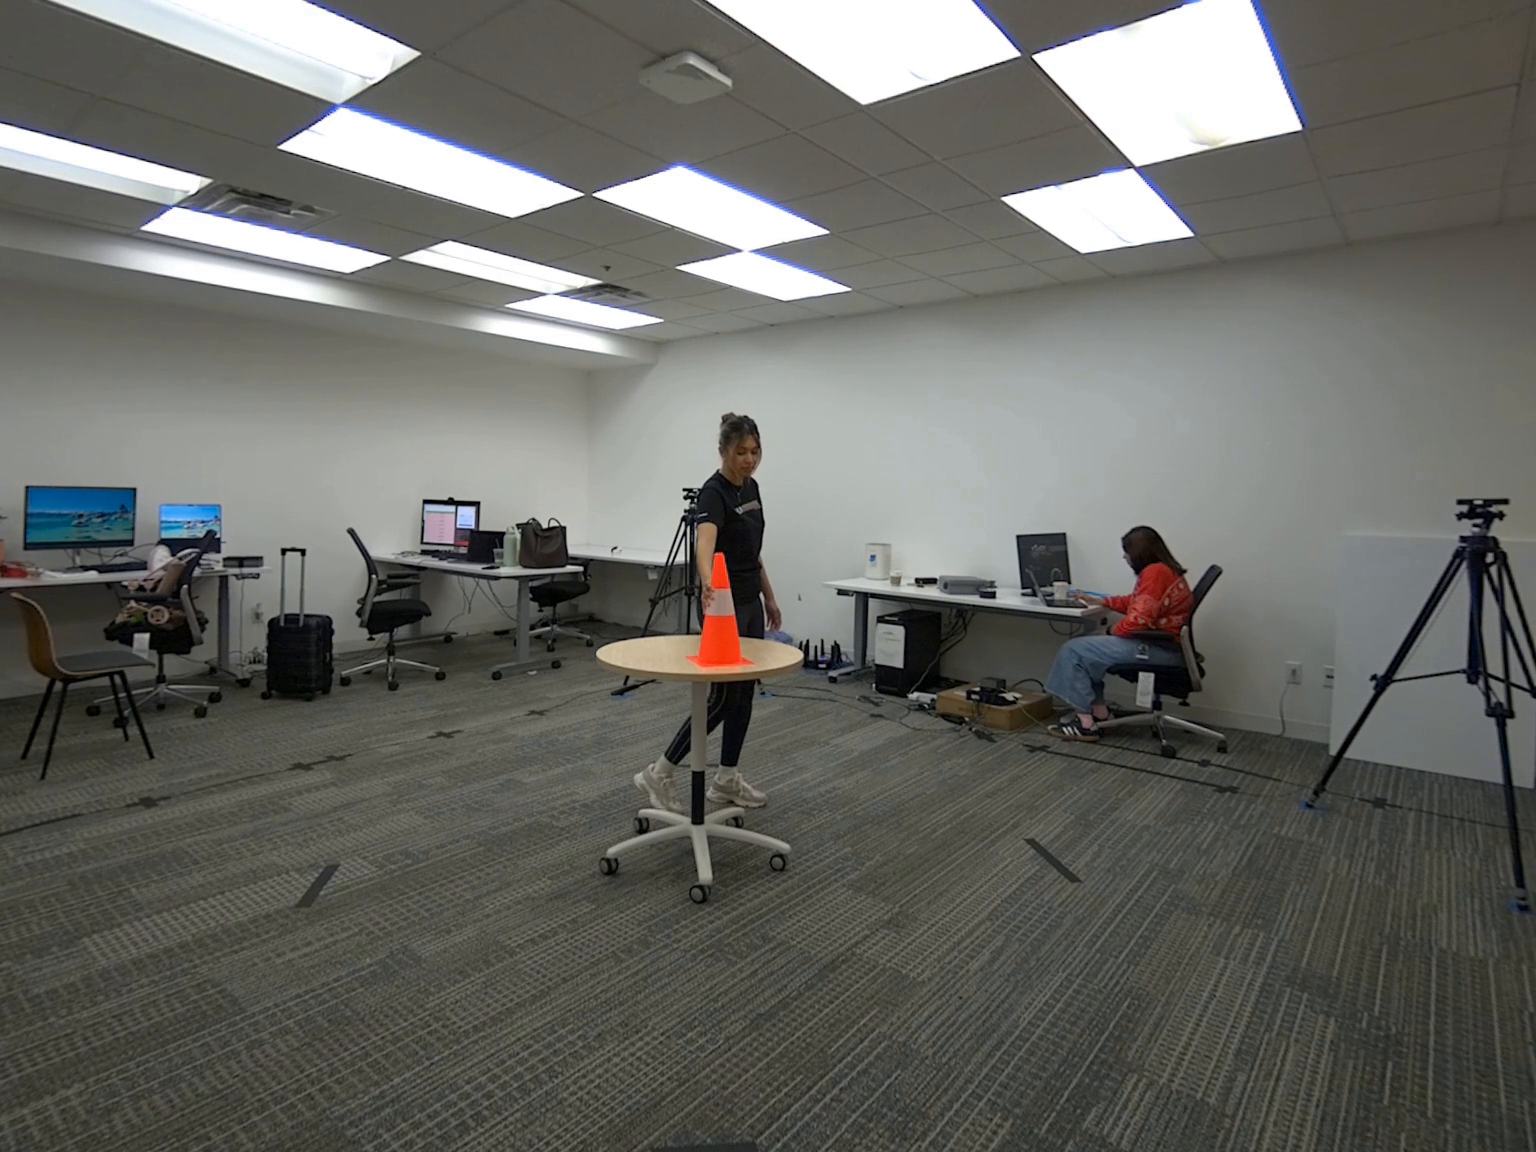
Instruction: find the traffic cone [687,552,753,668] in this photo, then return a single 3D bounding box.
[{"bbox_3d":[-0.171,0.108,2.994,0.199,0.382,0.210,0,5,-37],"label":"traffic cone"}]
